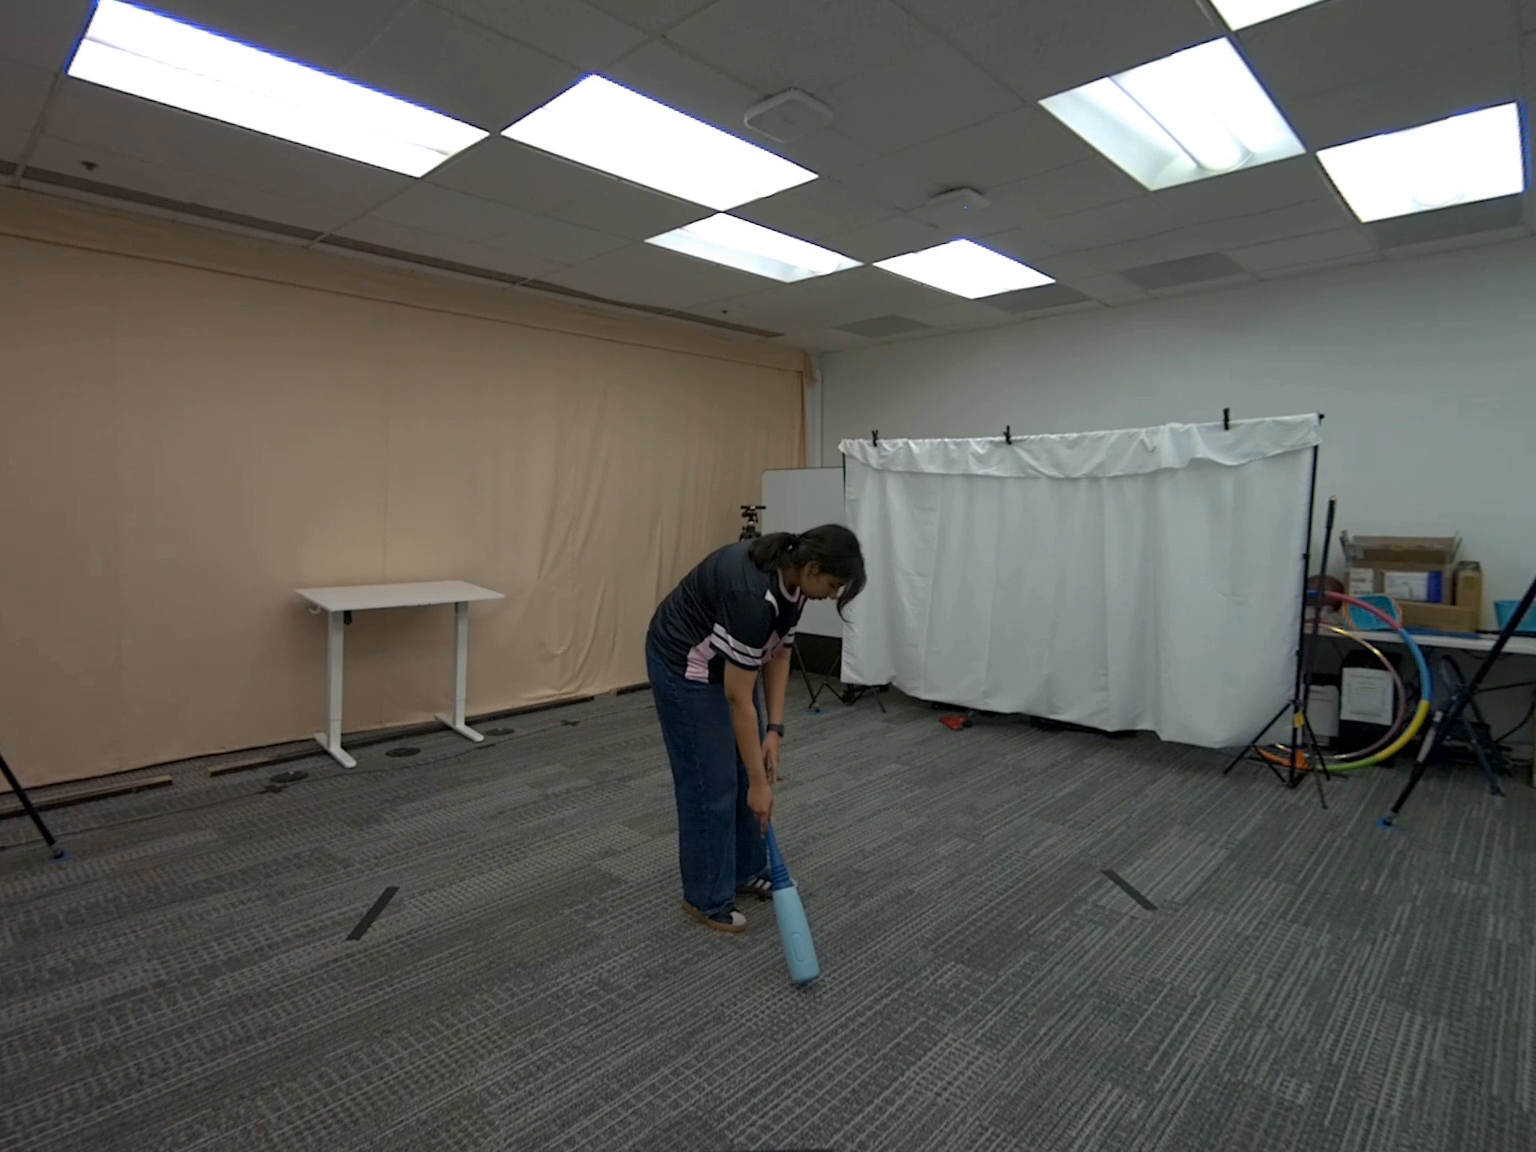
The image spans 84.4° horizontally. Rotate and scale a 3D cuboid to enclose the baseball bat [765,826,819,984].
[{"bbox_3d":[0.058,0.927,2.531,0.088,0.554,0.088,-12,-24,-7],"label":"baseball bat"}]
